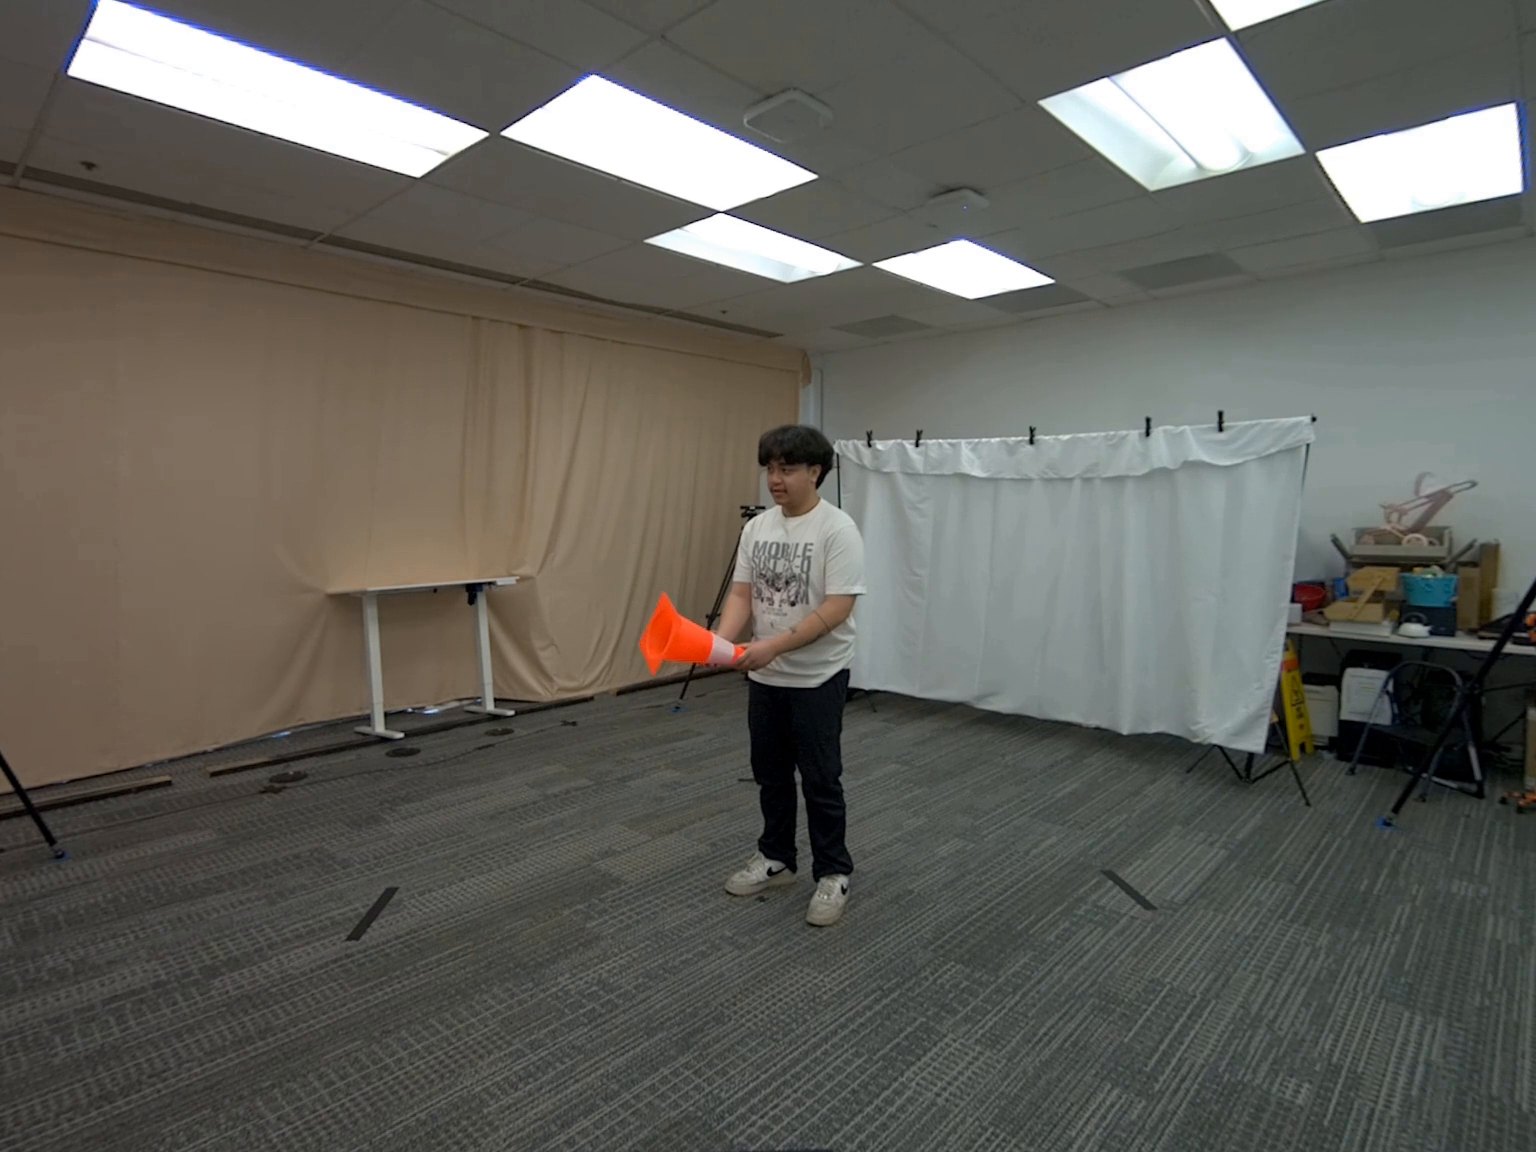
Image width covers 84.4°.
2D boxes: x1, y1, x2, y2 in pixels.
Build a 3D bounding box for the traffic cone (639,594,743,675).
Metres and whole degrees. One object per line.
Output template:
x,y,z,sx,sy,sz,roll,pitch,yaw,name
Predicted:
-0.180,0.234,2.680,0.373,0.203,0.211,20,17,-26,traffic cone
